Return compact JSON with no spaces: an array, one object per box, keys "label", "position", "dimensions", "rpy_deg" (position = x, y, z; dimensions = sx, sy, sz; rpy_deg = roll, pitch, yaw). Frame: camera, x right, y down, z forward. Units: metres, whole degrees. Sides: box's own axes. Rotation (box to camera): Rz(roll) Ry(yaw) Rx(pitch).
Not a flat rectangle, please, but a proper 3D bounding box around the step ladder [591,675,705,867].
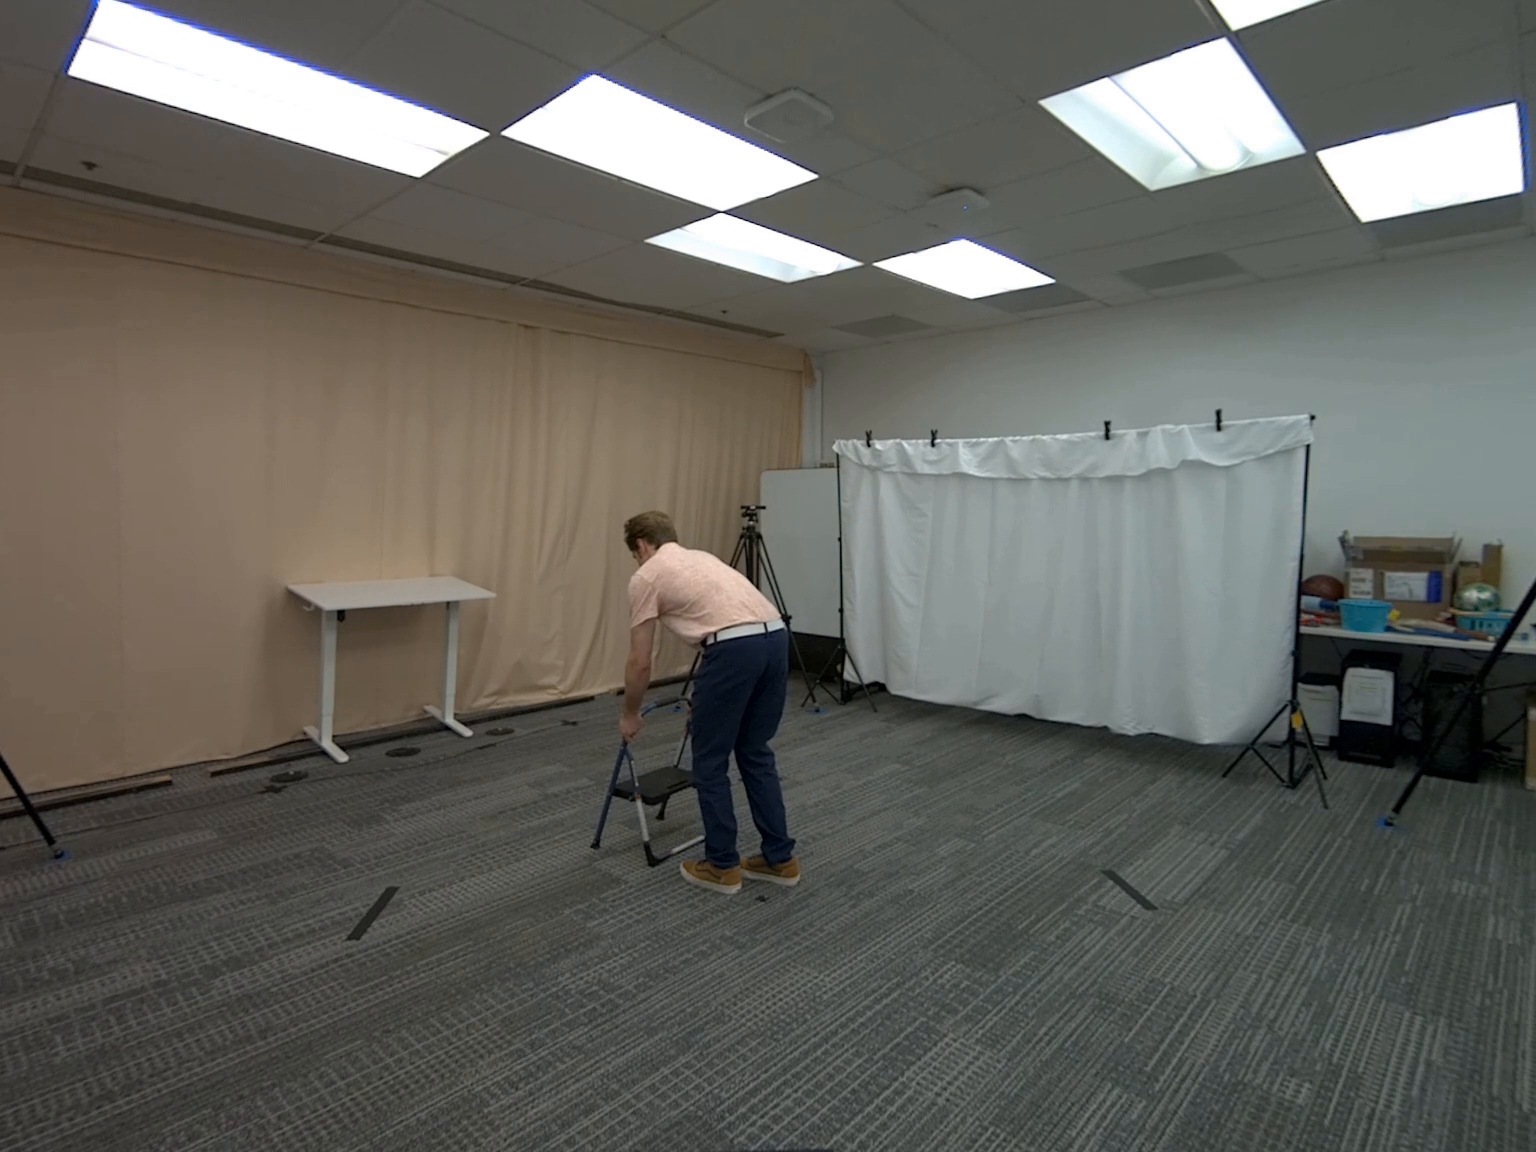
[{"label":"step ladder","position":[-0.471,0.801,3.495],"dimensions":[0.360,0.605,0.418],"rpy_deg":[2,4,36]}]
